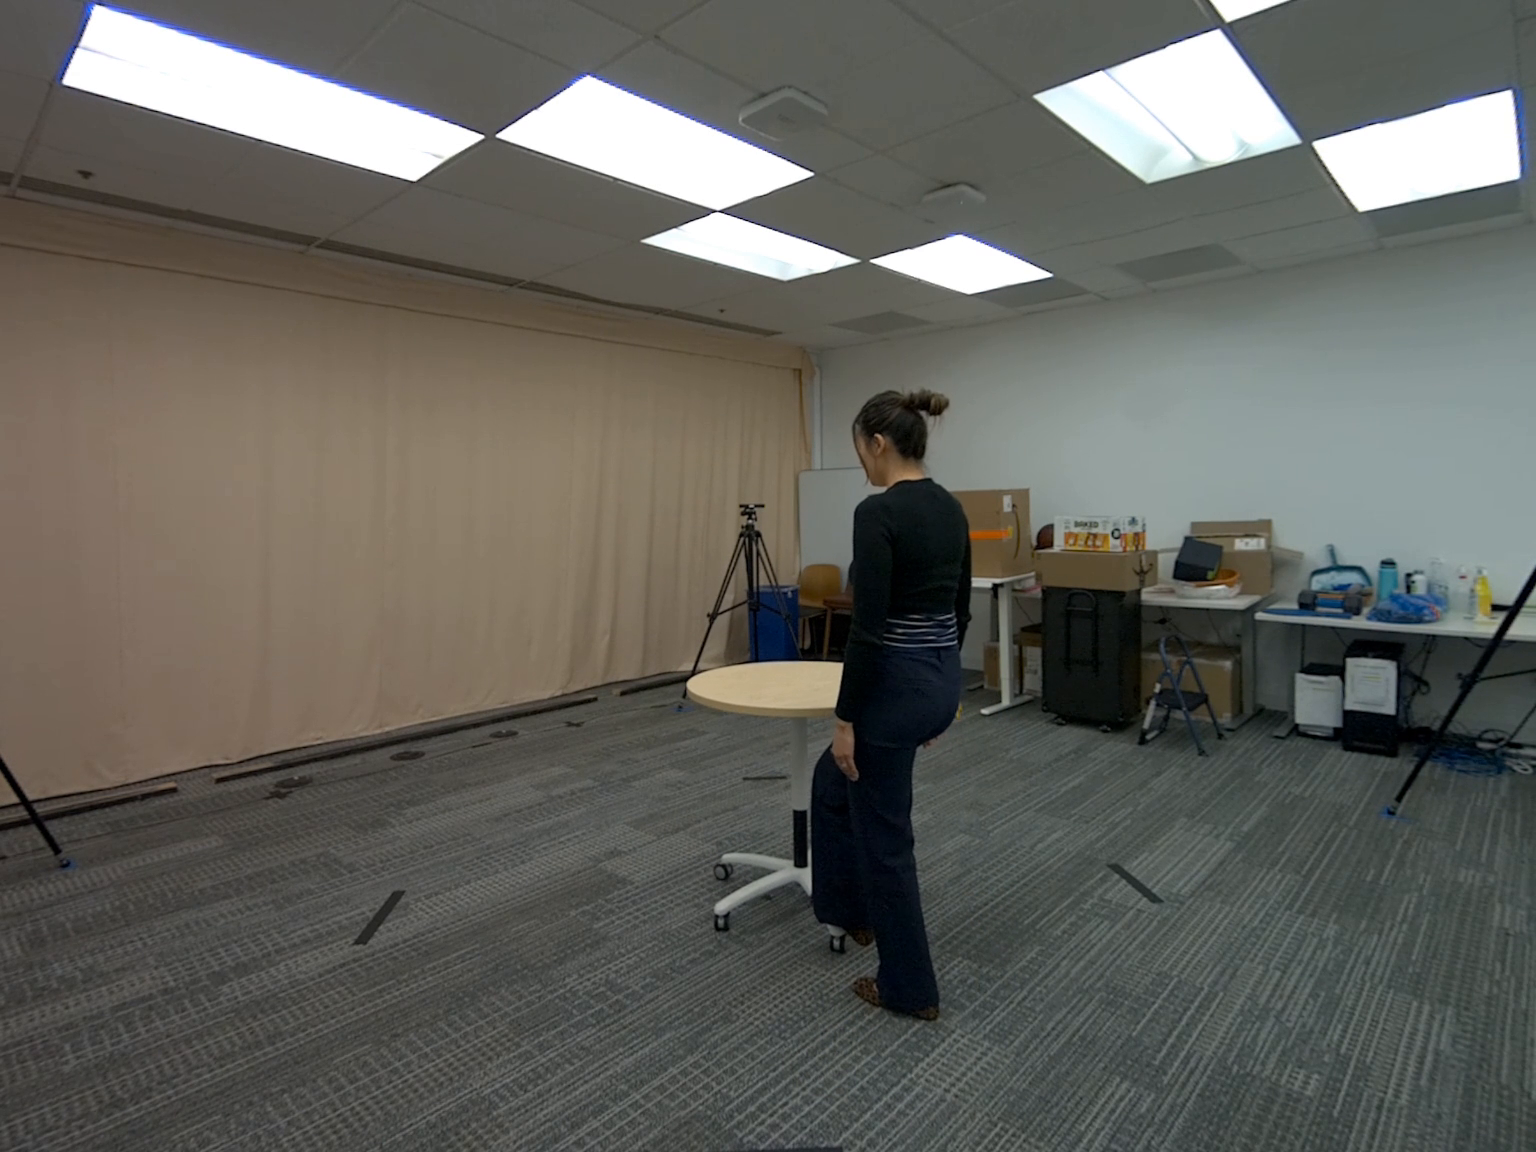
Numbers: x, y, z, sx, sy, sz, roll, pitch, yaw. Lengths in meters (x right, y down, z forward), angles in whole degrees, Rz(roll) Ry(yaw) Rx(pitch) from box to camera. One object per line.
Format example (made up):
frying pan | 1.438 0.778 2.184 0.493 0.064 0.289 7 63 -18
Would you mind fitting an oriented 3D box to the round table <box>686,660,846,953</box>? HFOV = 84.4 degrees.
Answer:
round table | 0.105 0.756 2.905 0.763 0.792 0.767 -1 4 -2
